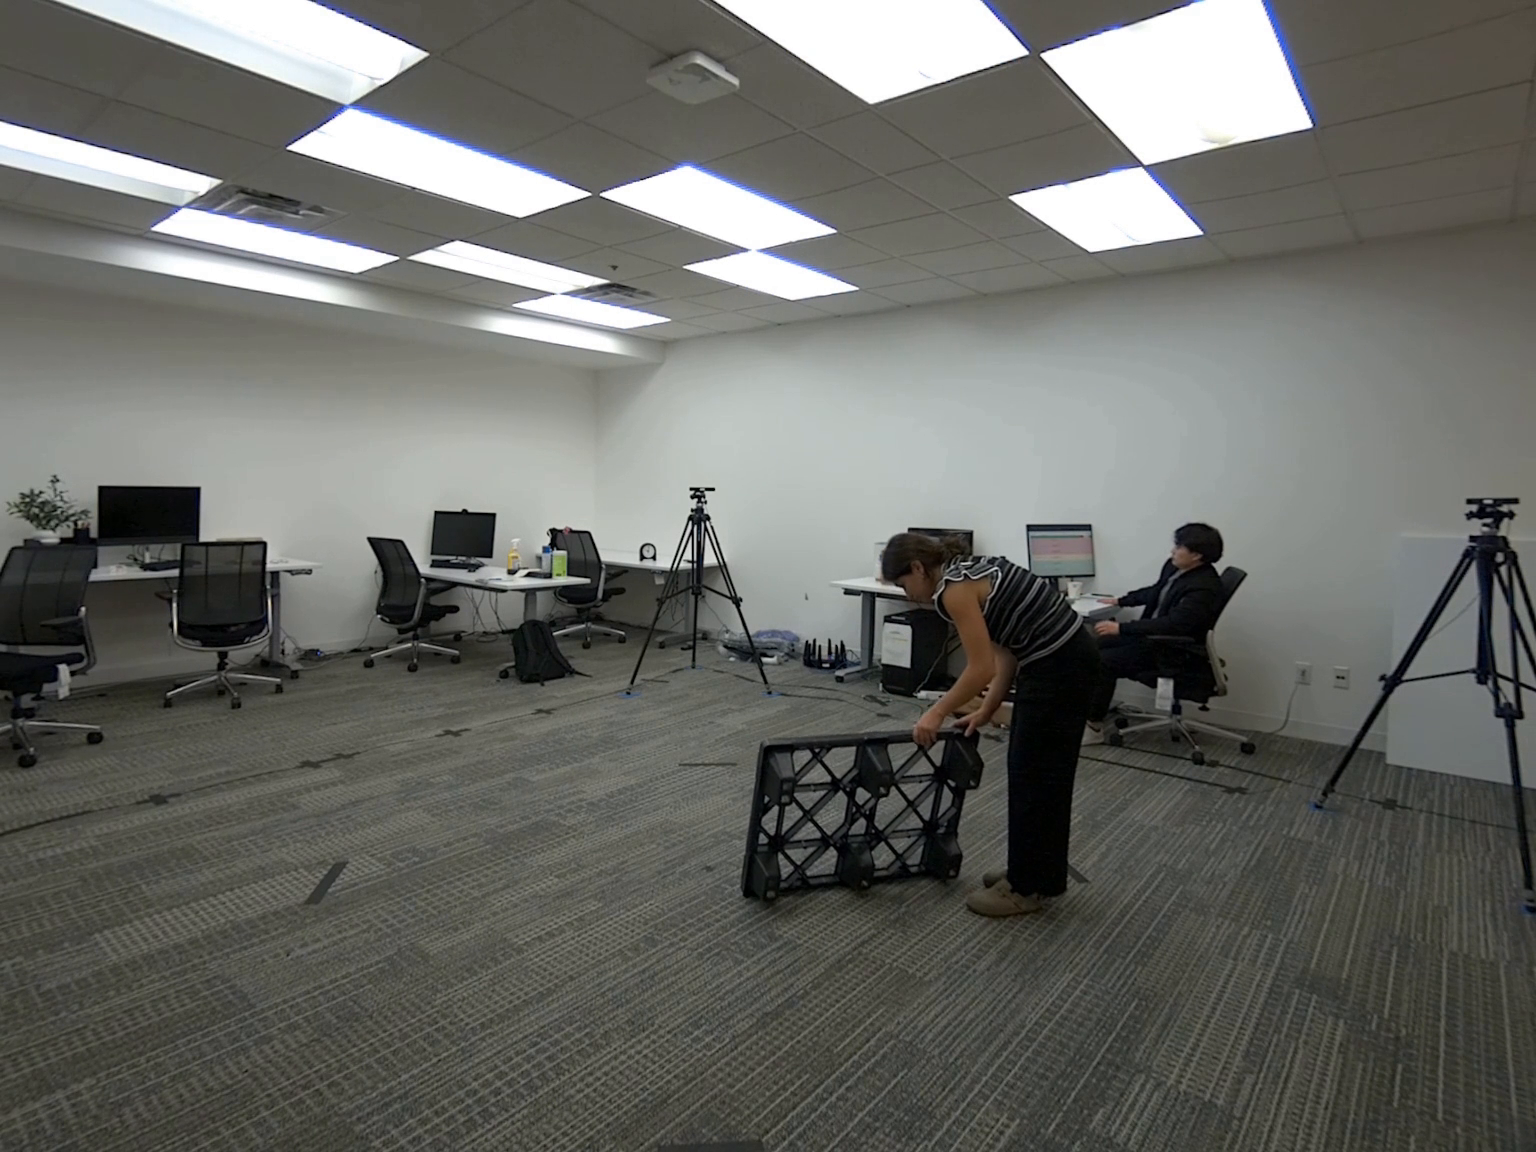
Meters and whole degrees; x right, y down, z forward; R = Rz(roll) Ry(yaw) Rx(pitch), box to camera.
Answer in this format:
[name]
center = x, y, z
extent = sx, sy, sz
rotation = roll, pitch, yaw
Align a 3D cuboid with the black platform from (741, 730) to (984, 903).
[black platform]
center = 0.323, 0.820, 2.890
extent = 0.792, 0.596, 0.148
rotation = -1, 20, -17
